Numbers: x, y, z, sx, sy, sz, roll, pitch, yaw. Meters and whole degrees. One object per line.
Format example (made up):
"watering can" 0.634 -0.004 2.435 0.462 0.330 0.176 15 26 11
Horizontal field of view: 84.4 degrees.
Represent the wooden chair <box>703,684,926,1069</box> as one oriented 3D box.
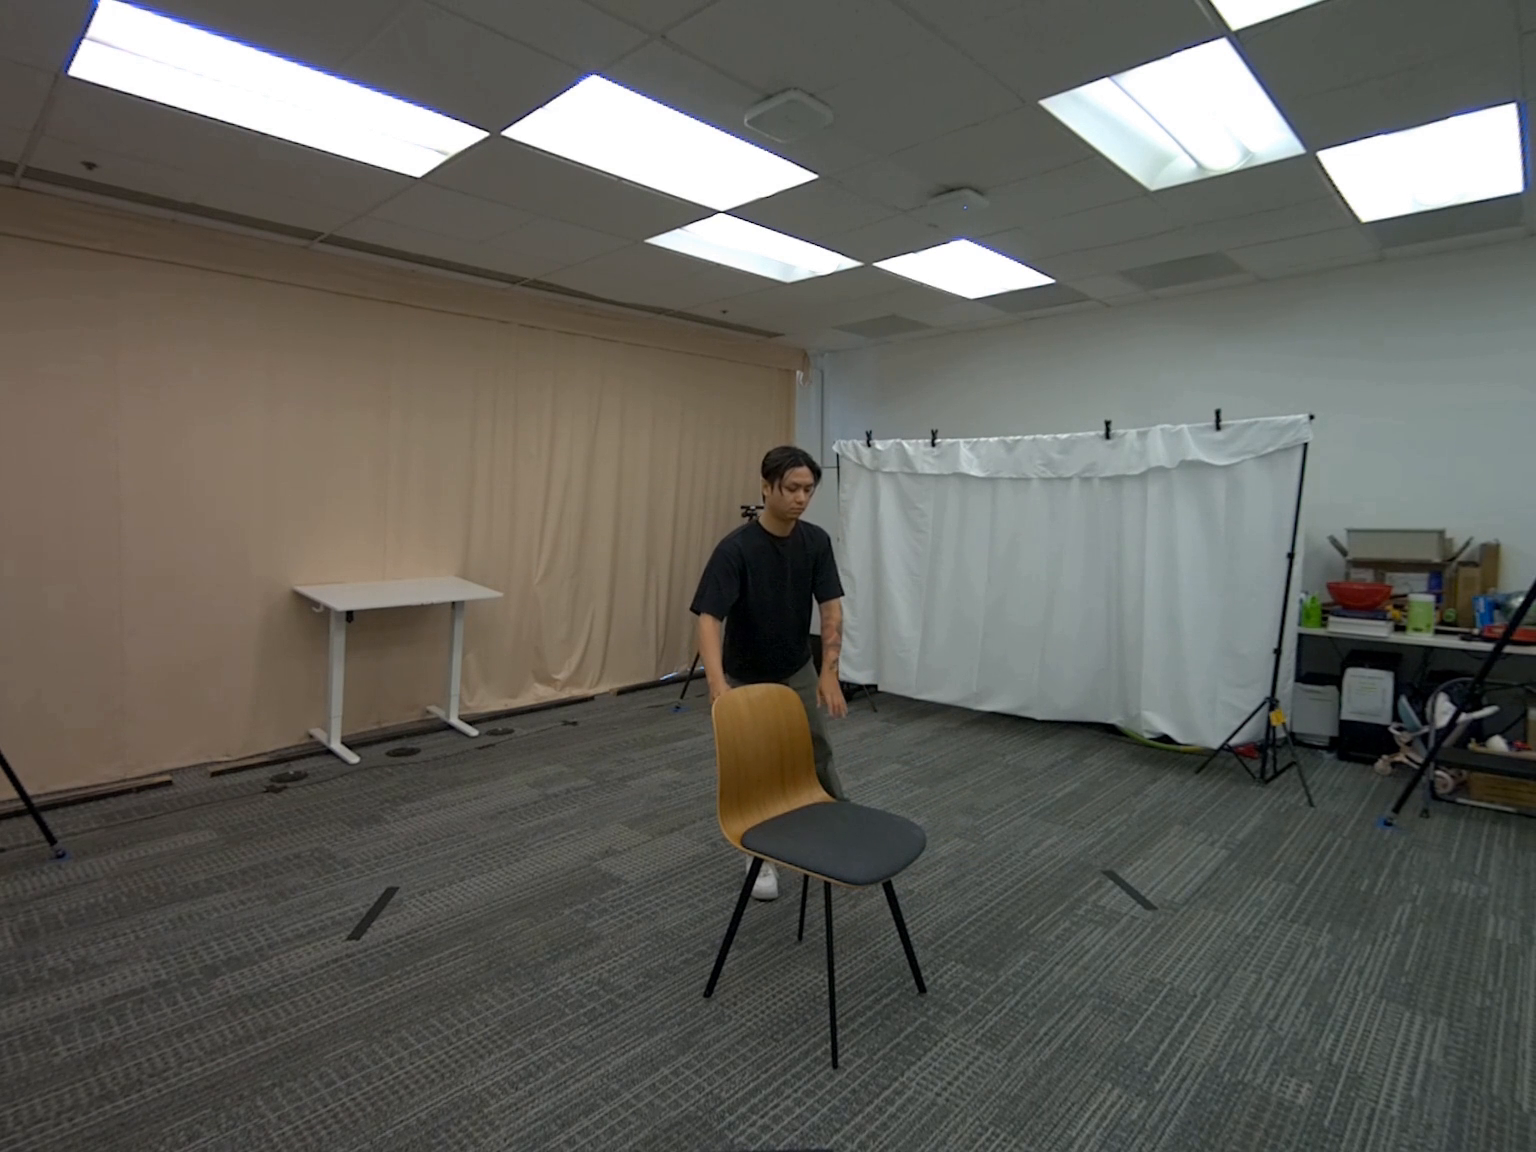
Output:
"wooden chair" 0.145 0.765 2.363 0.539 0.877 0.463 -3 0 41
